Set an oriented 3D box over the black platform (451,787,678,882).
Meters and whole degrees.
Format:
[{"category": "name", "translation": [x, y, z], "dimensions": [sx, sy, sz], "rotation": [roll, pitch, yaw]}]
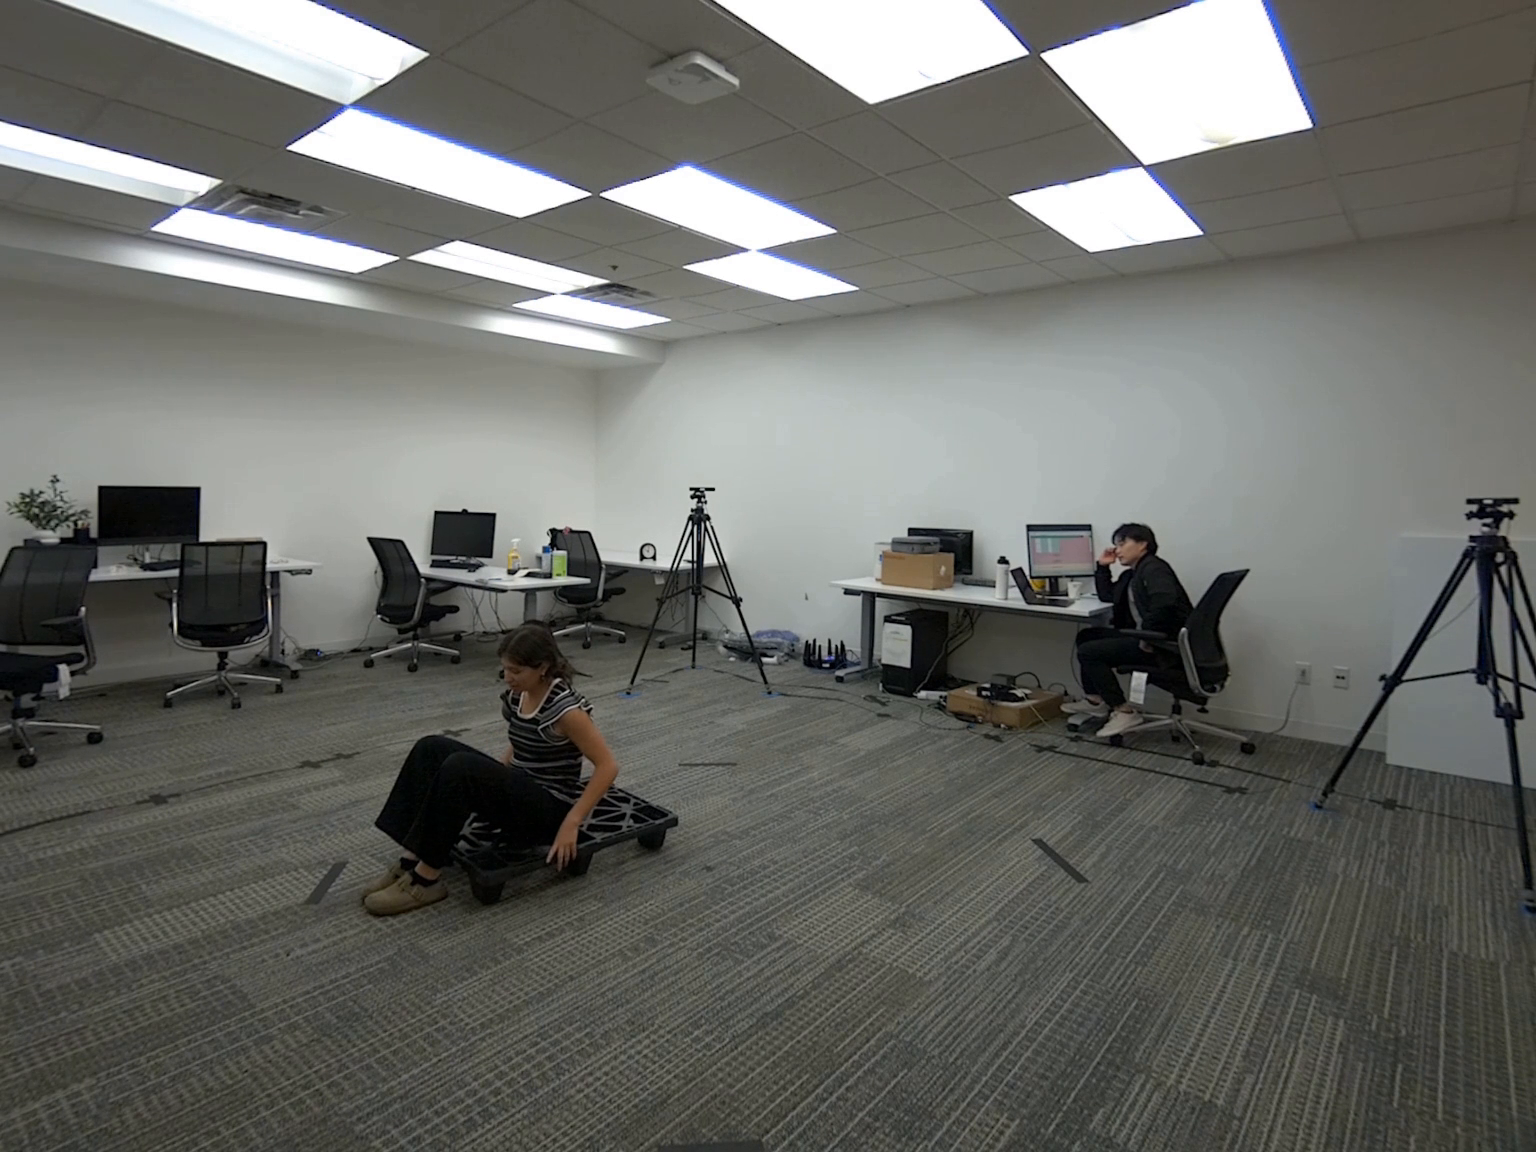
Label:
[{"category": "black platform", "translation": [-0.840, 0.975, 3.213], "dimensions": [0.782, 0.143, 0.625], "rotation": [-5, 7, -42]}]
